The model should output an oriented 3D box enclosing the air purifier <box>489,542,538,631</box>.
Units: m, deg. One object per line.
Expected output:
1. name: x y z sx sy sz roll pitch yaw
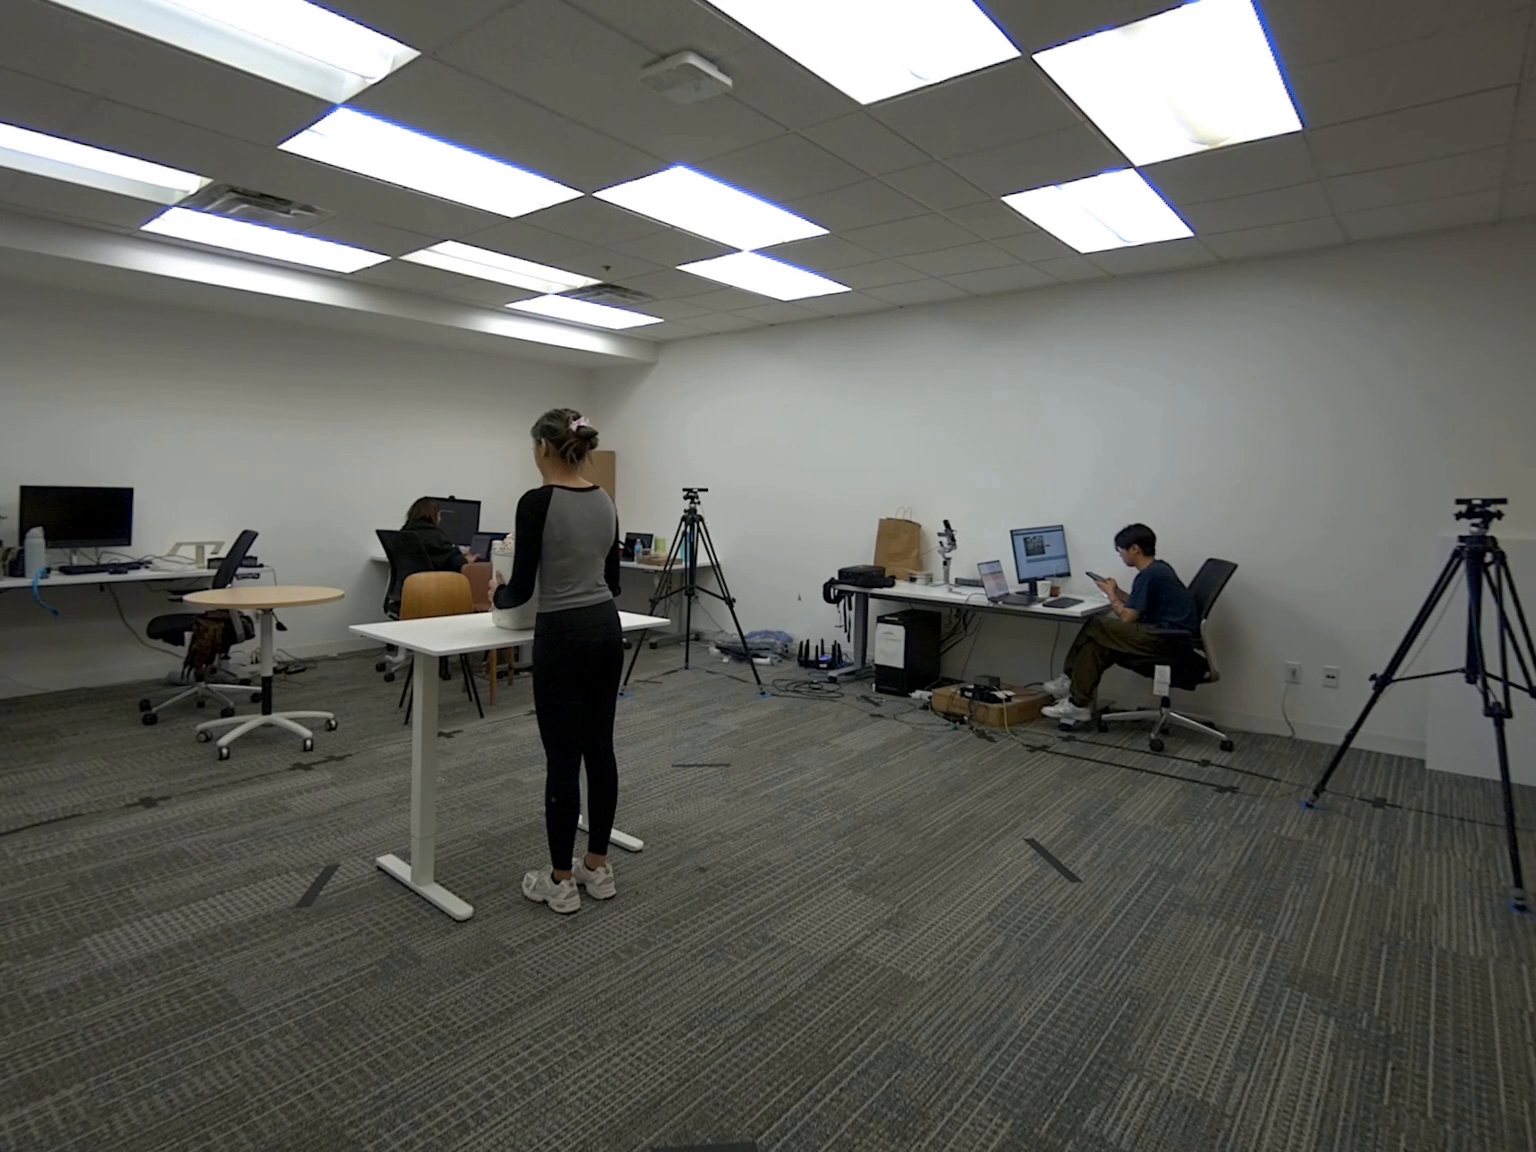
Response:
1. air purifier: -0.898 0.050 3.060 0.177 0.264 0.166 6 5 41
